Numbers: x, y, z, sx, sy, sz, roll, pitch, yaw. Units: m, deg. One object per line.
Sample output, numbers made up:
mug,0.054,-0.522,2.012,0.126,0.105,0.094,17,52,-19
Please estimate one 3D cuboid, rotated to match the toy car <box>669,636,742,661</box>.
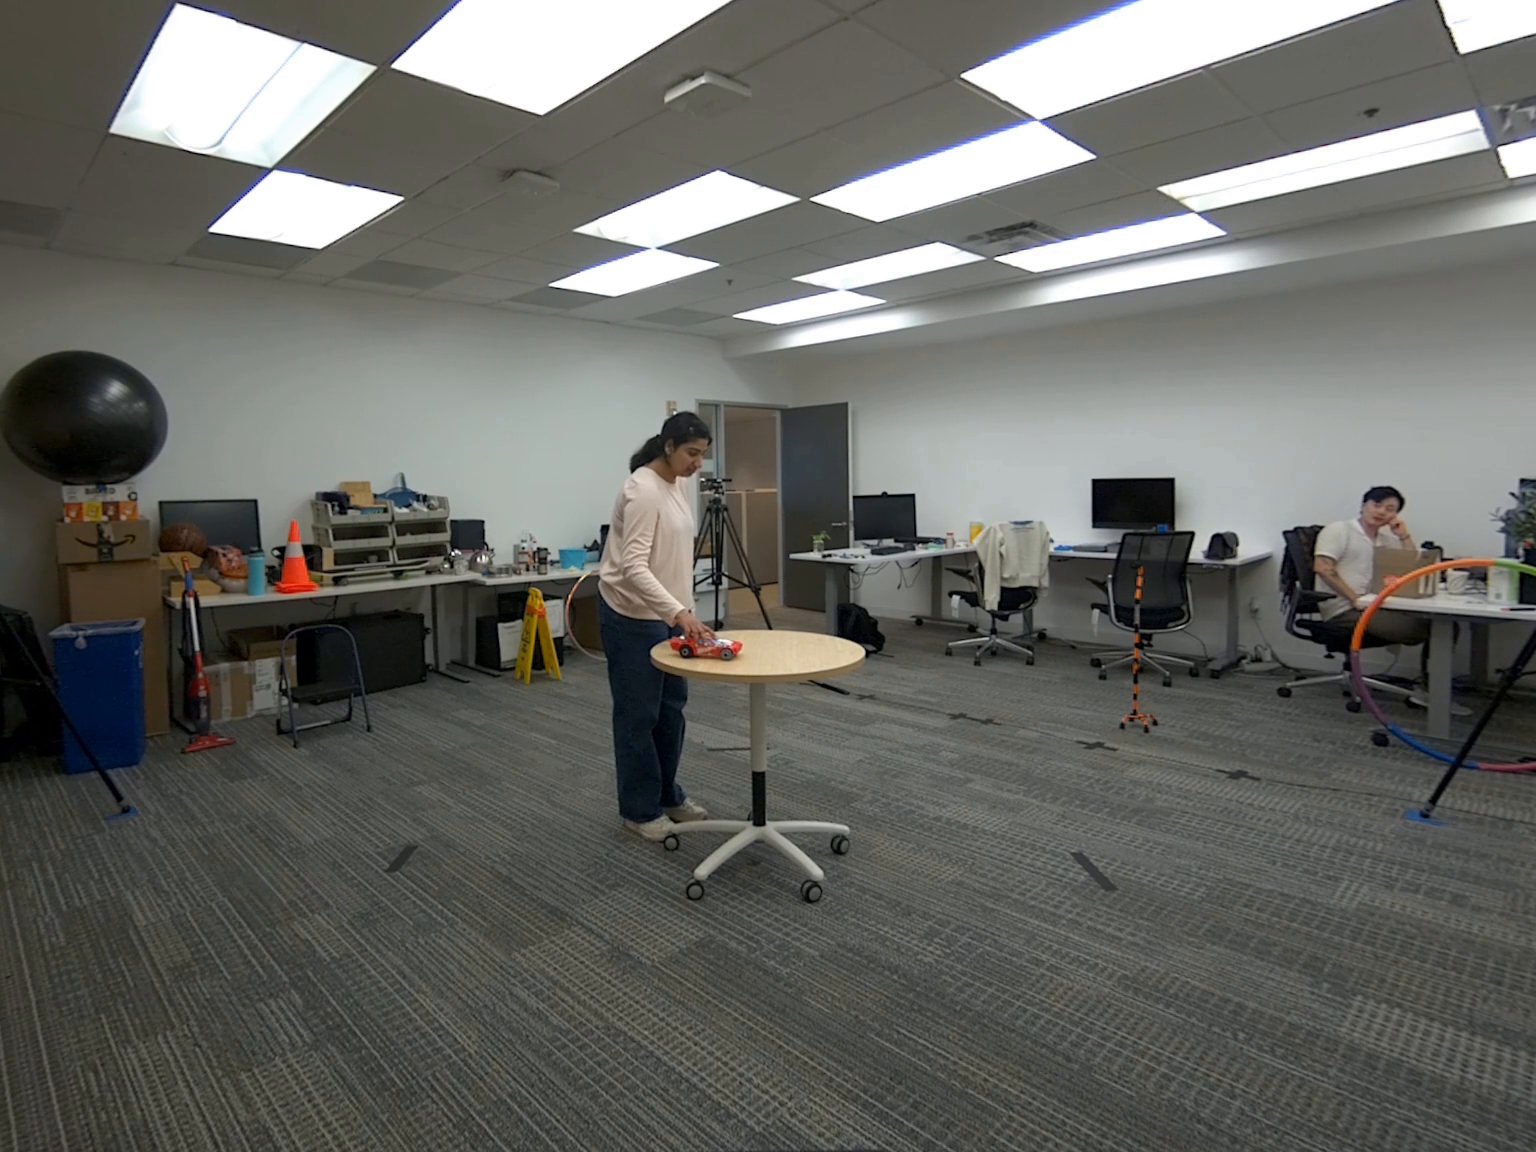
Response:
toy car,-0.211,0.249,2.967,0.258,0.083,0.129,11,9,11
